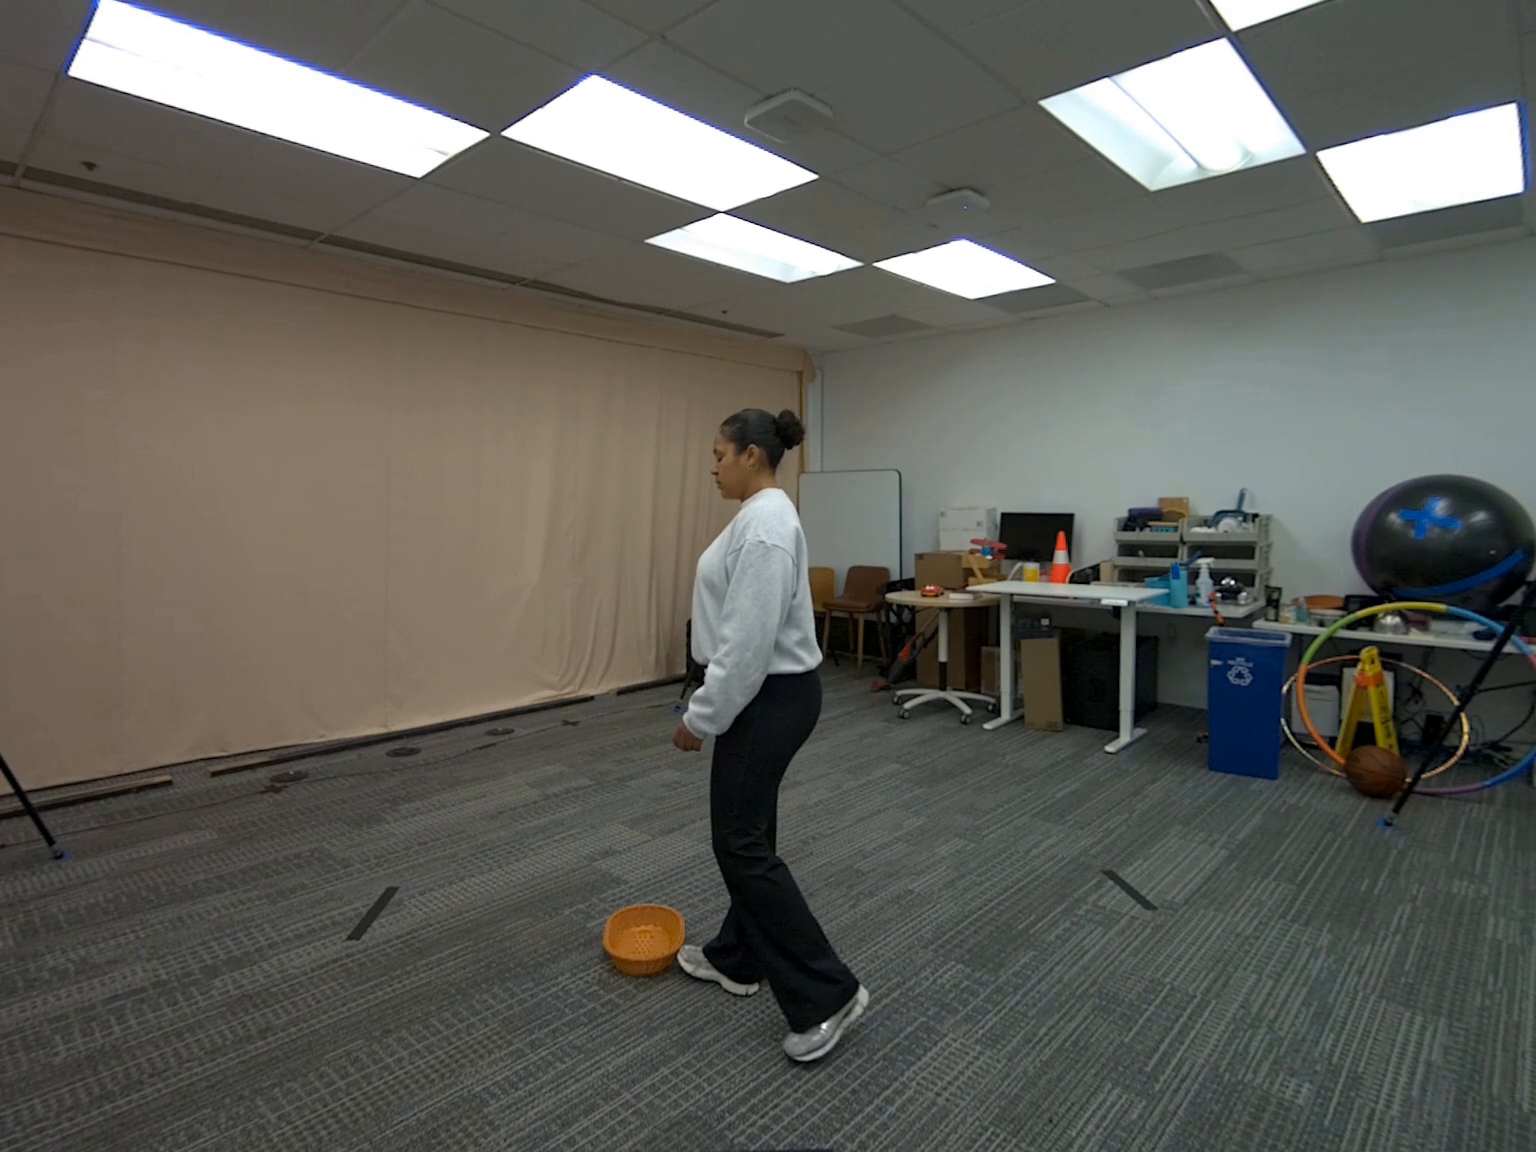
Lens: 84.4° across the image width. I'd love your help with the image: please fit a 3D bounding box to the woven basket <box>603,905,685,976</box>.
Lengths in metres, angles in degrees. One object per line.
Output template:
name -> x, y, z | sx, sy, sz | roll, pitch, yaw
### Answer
woven basket -> -0.388, 1.136, 2.634 | 0.252, 0.073, 0.352 | 0, 5, -2
